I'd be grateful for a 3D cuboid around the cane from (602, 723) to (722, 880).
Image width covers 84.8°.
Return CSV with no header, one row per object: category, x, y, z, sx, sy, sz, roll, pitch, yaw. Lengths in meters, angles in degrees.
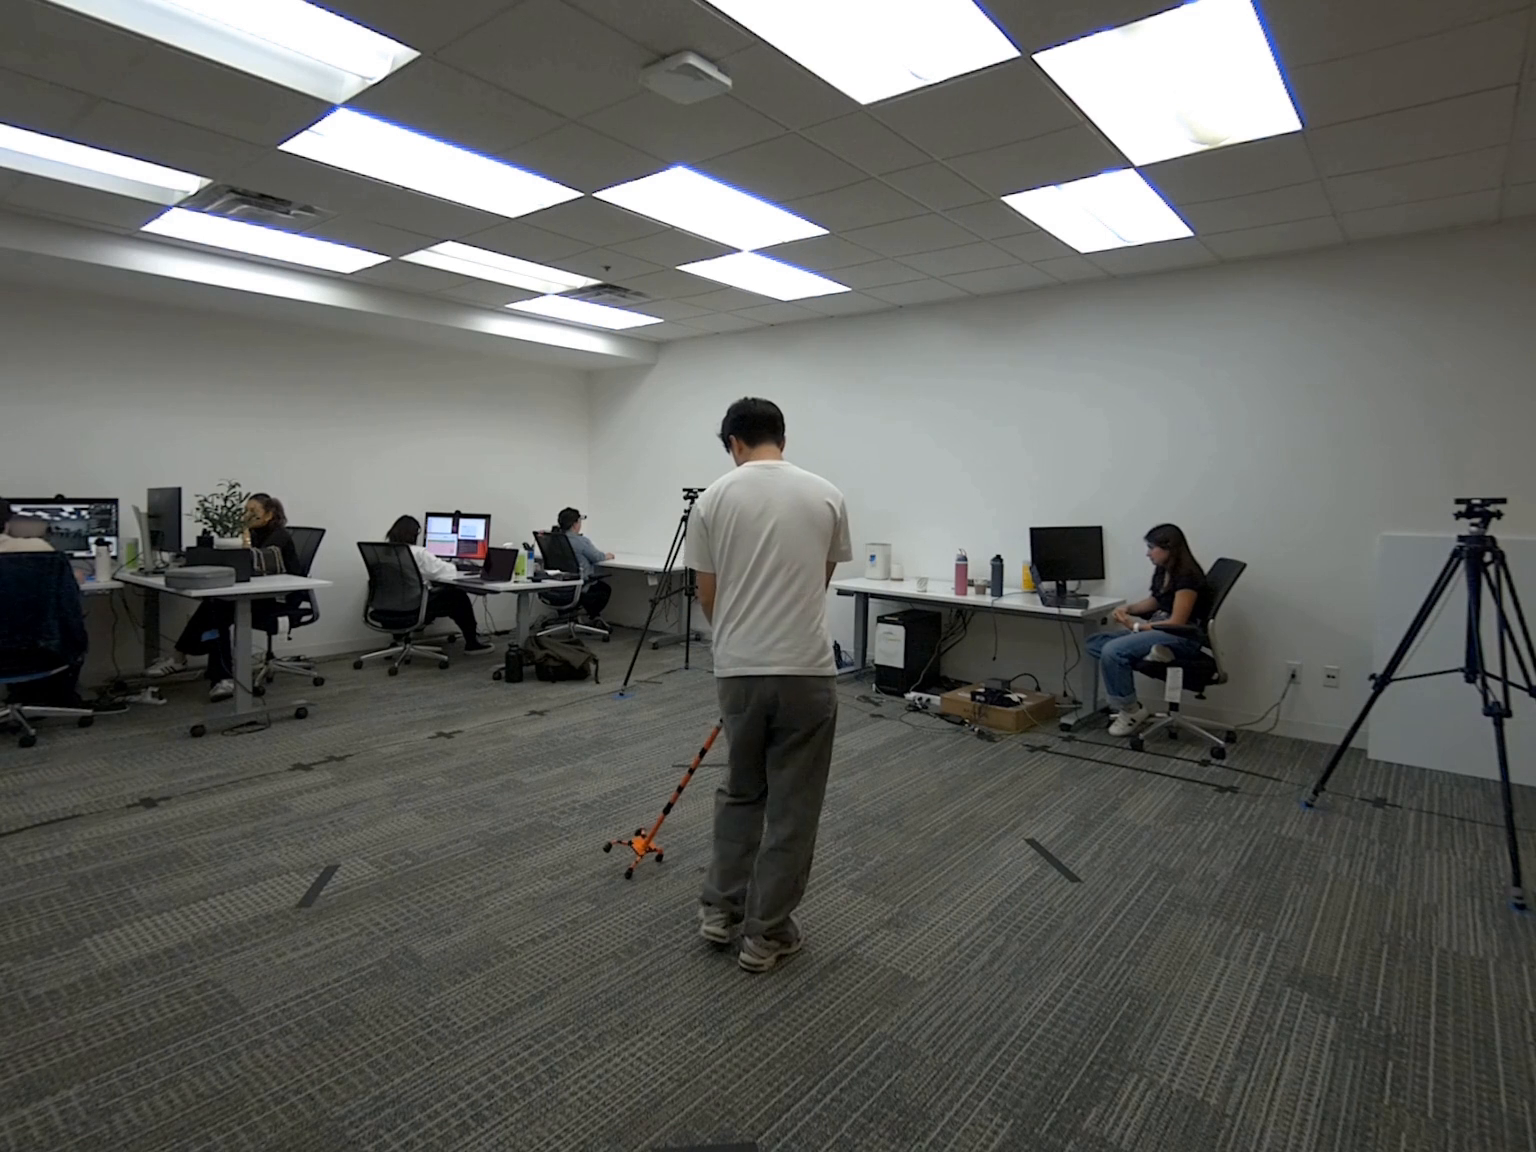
cane,-0.285,0.662,2.978,0.157,0.903,0.200,42,22,25
